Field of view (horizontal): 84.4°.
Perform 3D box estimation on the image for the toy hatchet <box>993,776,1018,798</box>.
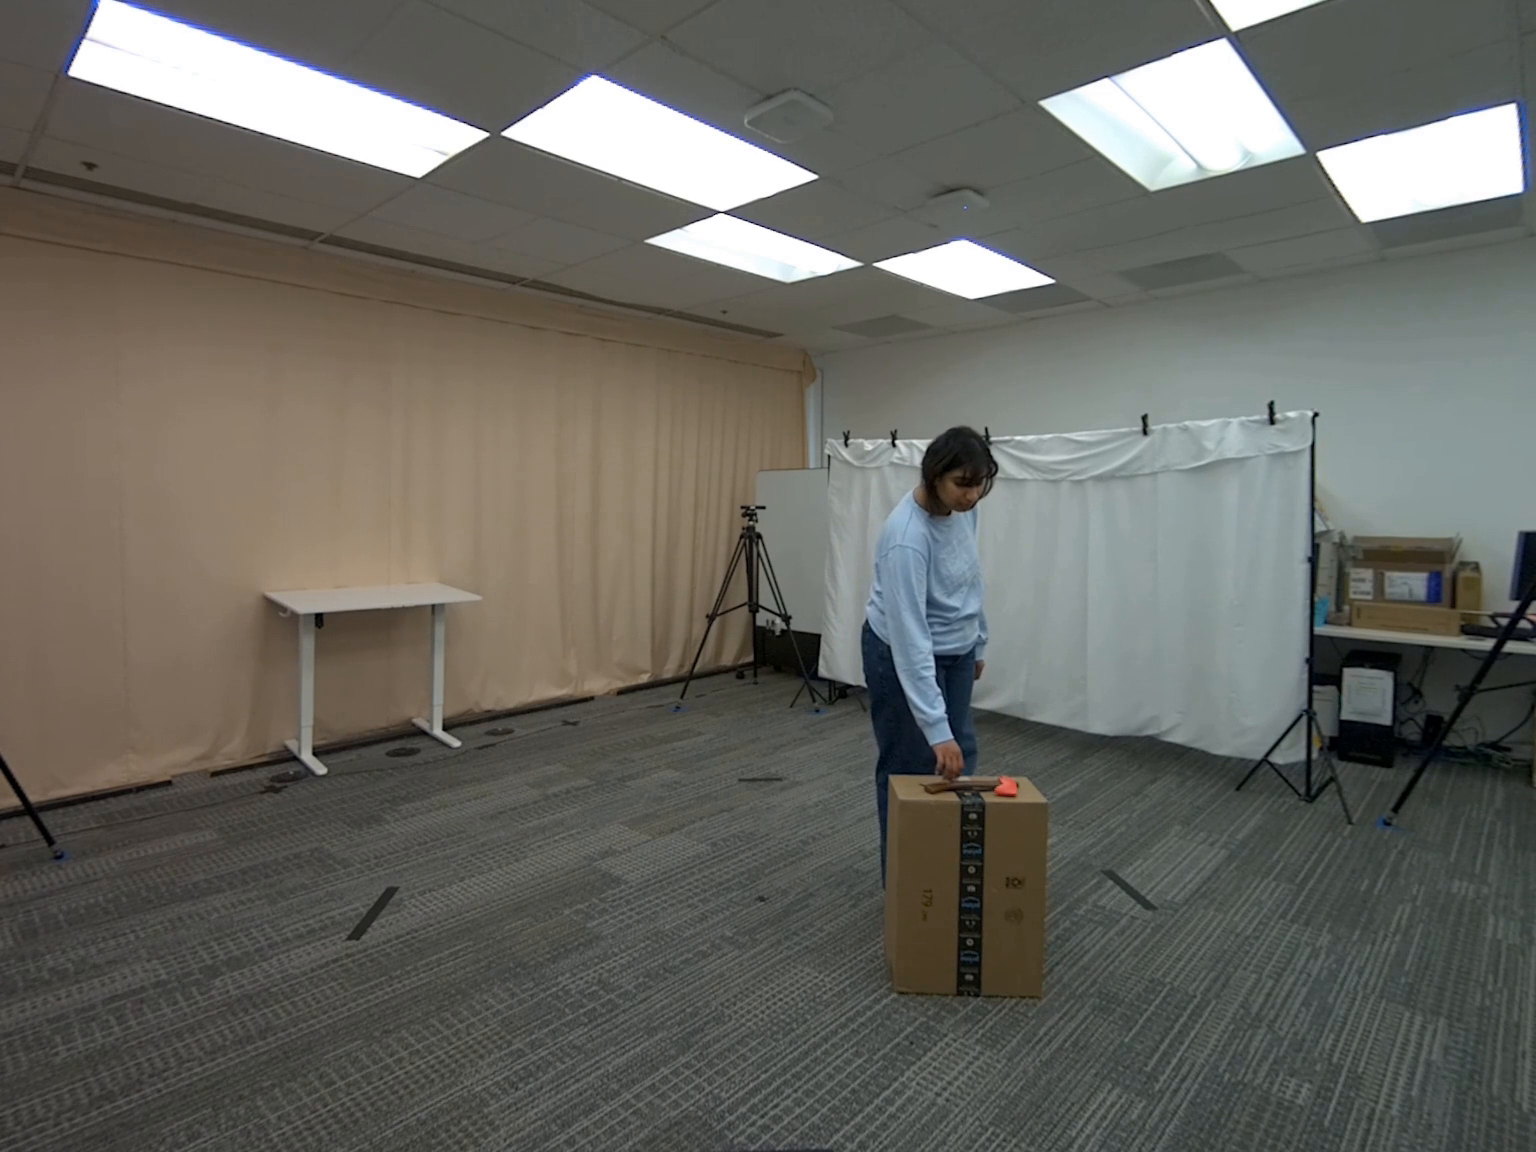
[{"bbox_3d":[0.595,0.612,2.422,0.266,0.029,0.134,-4,11,-16],"label":"toy hatchet"}]
